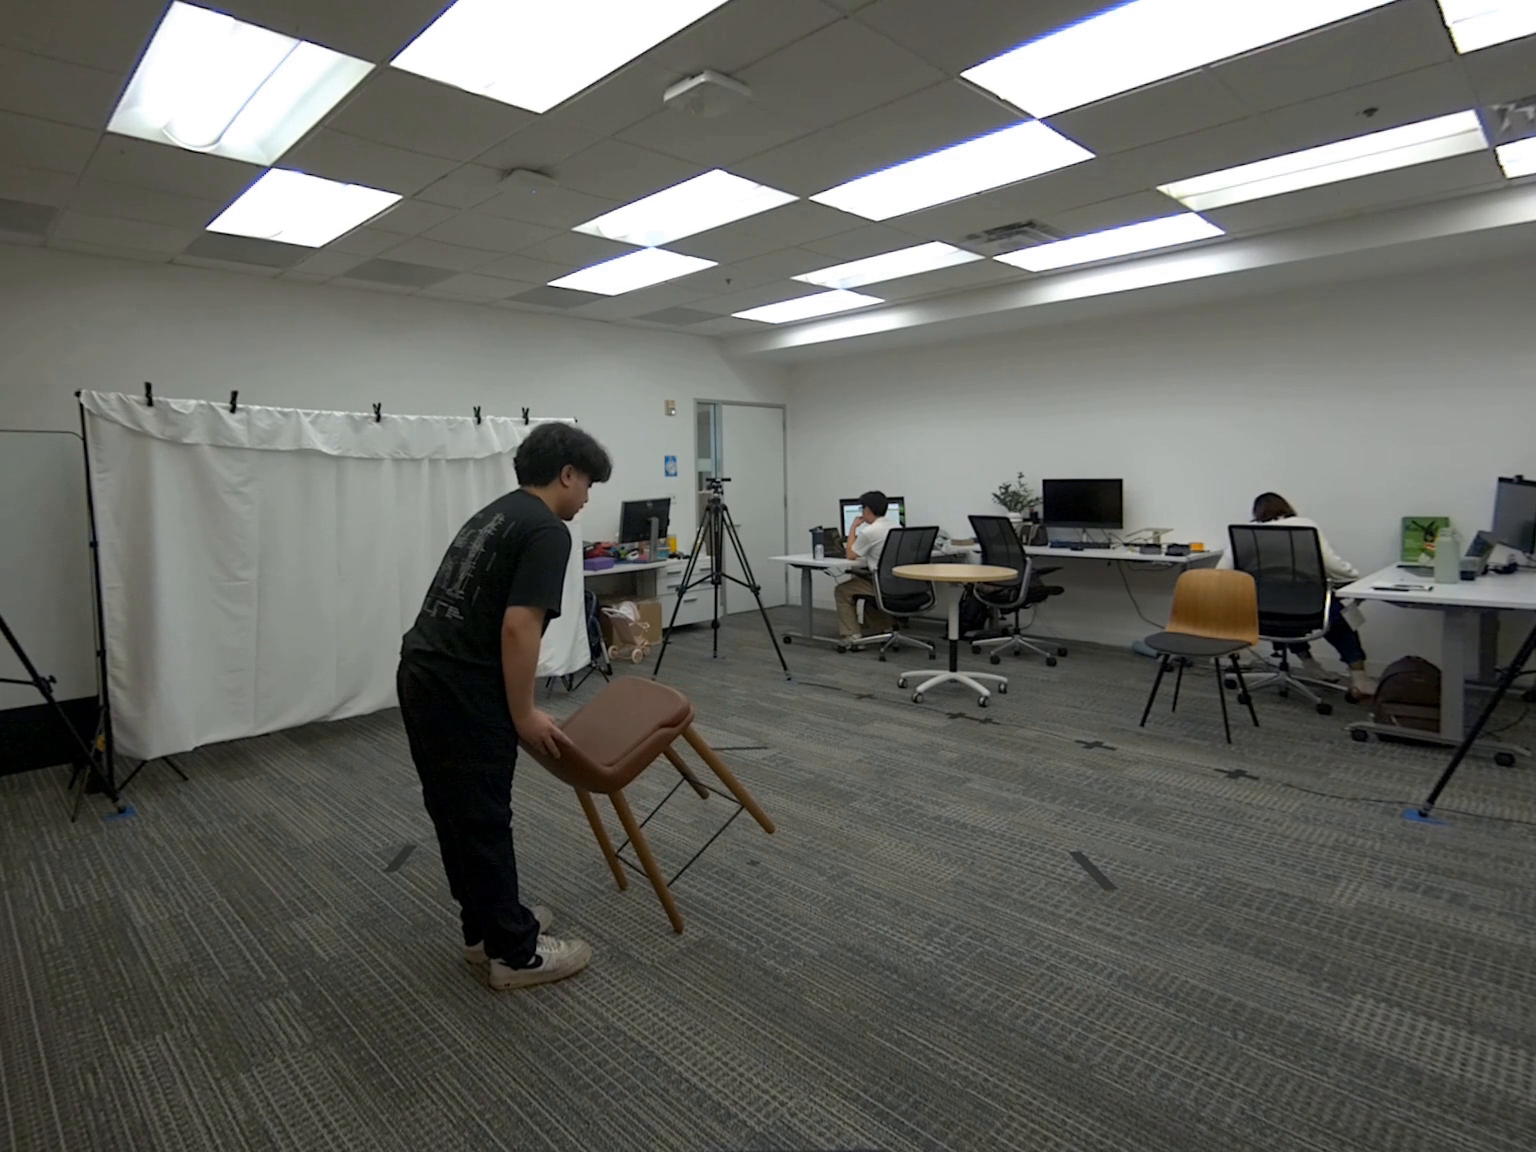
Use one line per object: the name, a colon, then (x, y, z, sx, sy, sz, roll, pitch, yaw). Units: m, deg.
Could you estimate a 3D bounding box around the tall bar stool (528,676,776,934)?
tall bar stool: (-0.430, 0.611, 2.722, 0.466, 0.866, 0.470, -42, 27, -27)
